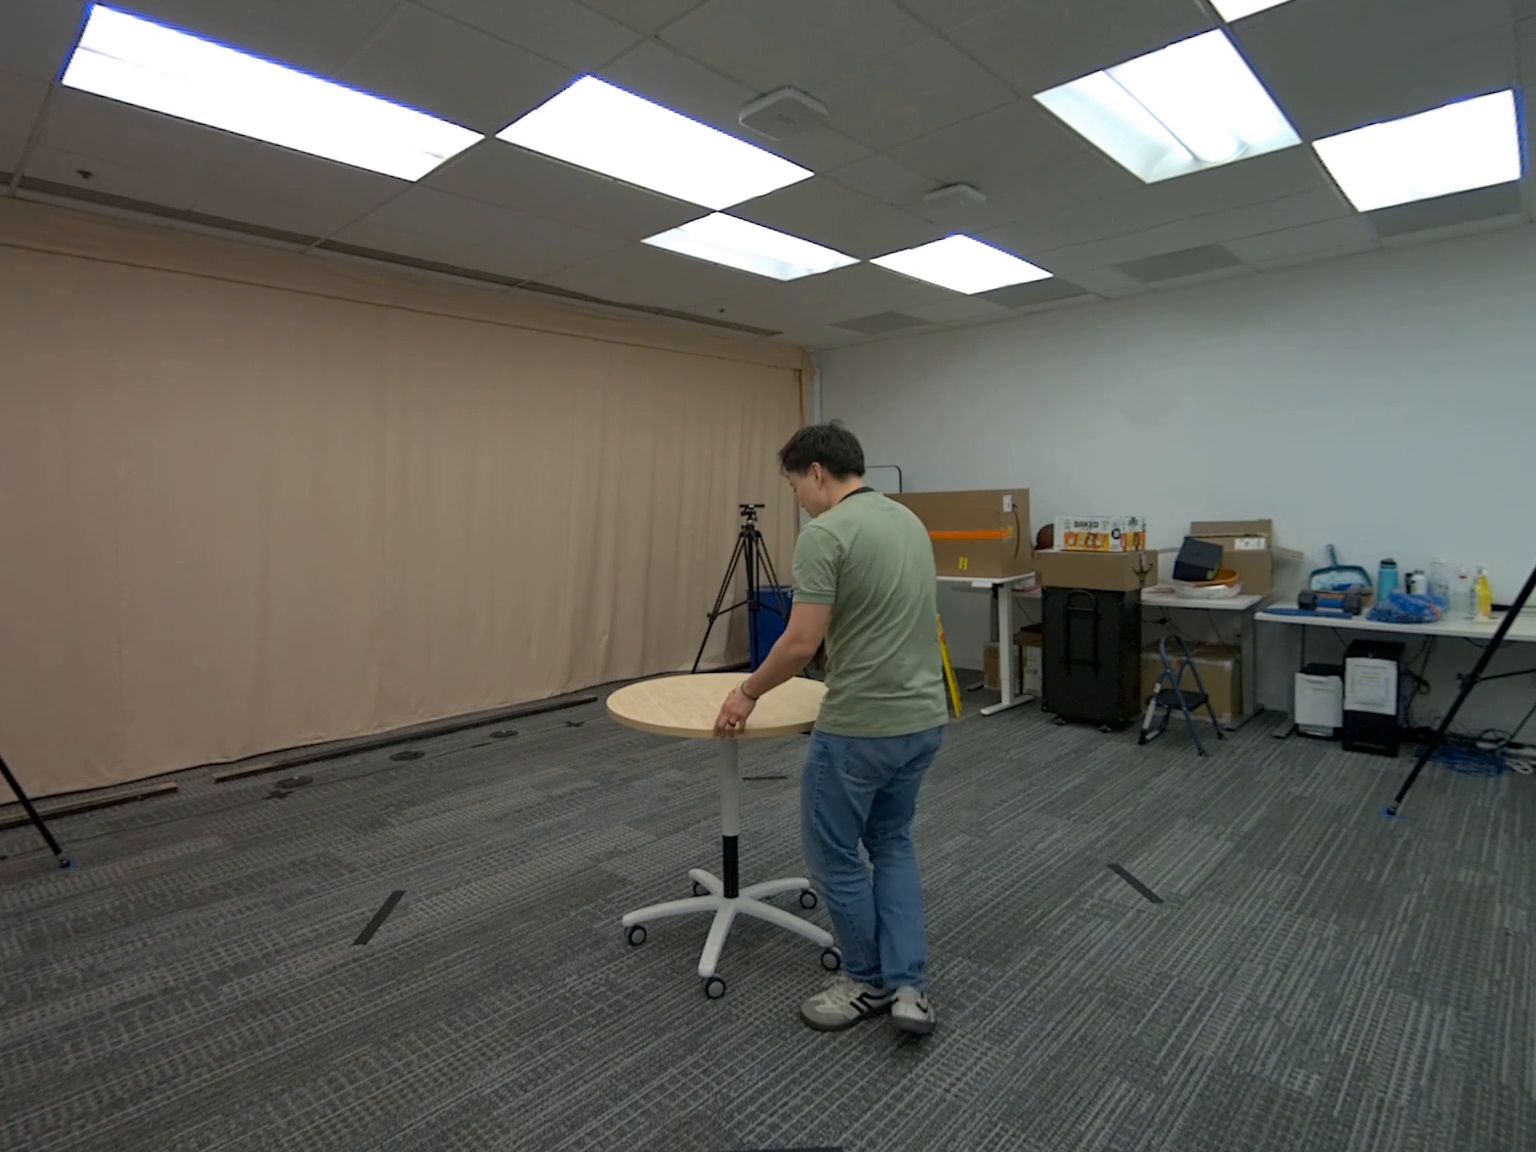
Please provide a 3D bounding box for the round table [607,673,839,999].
[{"bbox_3d":[-0.116,0.778,2.694,0.763,0.792,0.767,-1,4,-2],"label":"round table"}]
